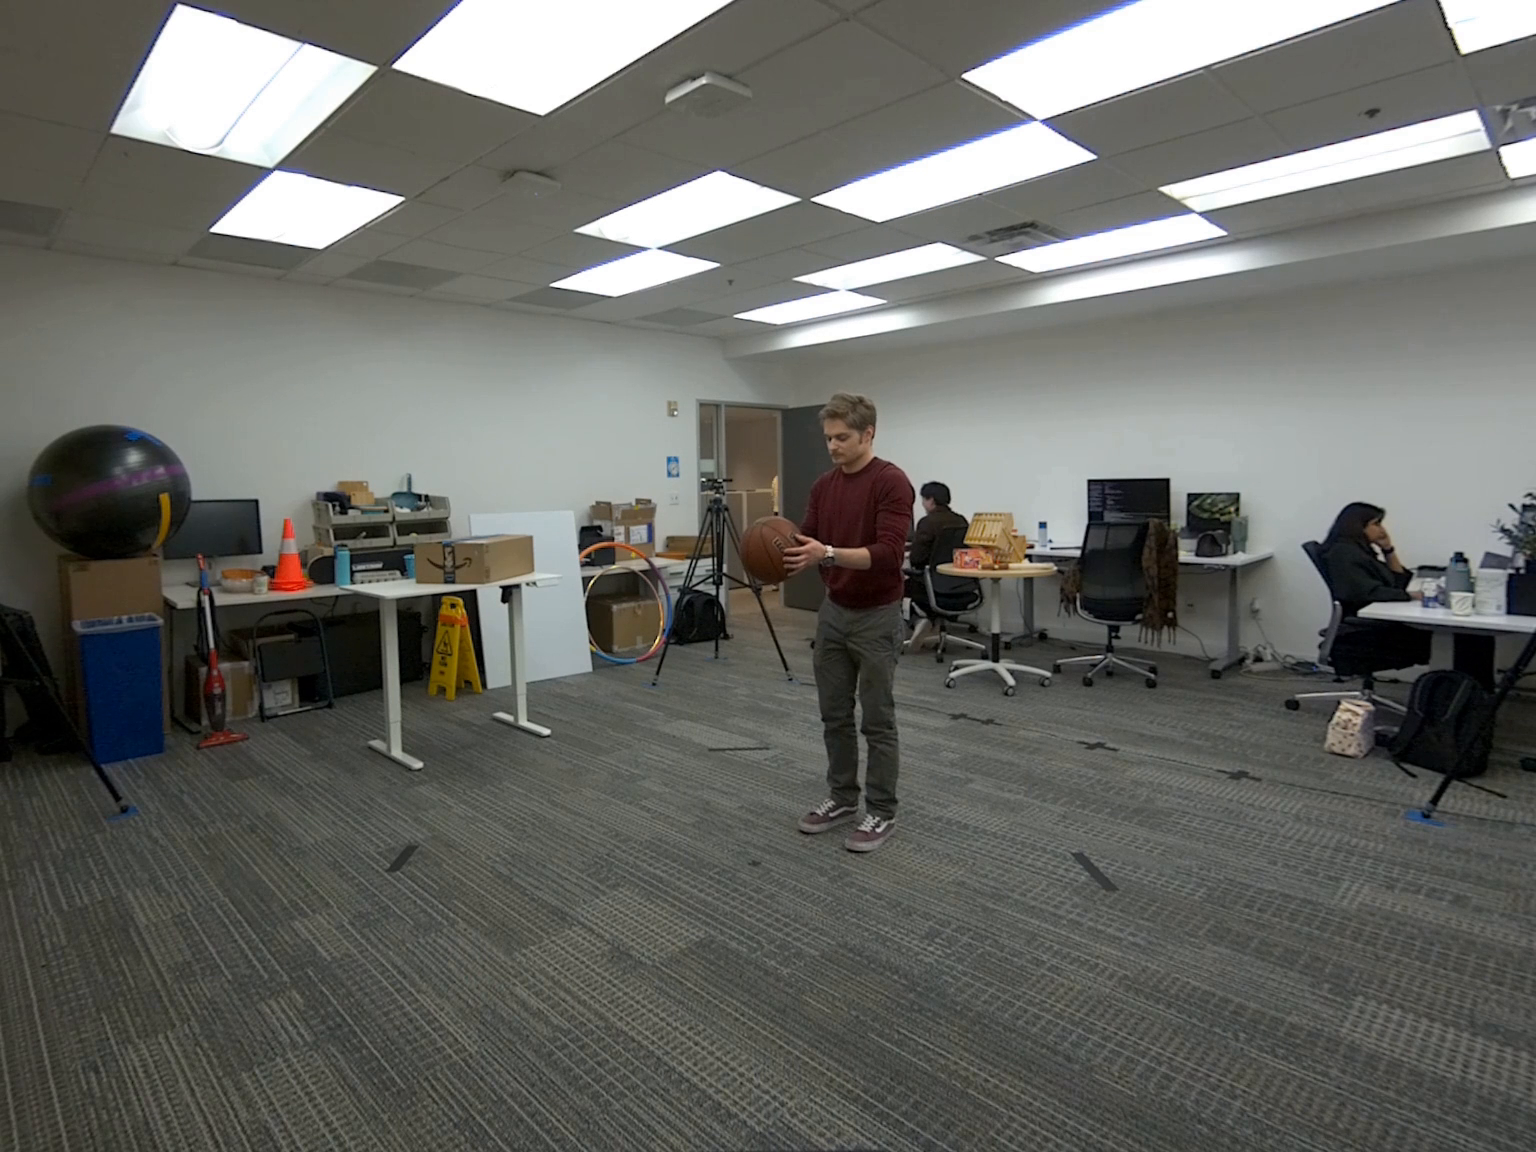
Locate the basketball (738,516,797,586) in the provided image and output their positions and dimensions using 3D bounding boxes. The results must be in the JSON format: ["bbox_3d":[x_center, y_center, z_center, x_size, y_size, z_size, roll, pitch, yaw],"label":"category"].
[{"bbox_3d":[0.019,-0.096,3.038,0.236,0.235,0.237,-1,5,-2],"label":"basketball"}]
